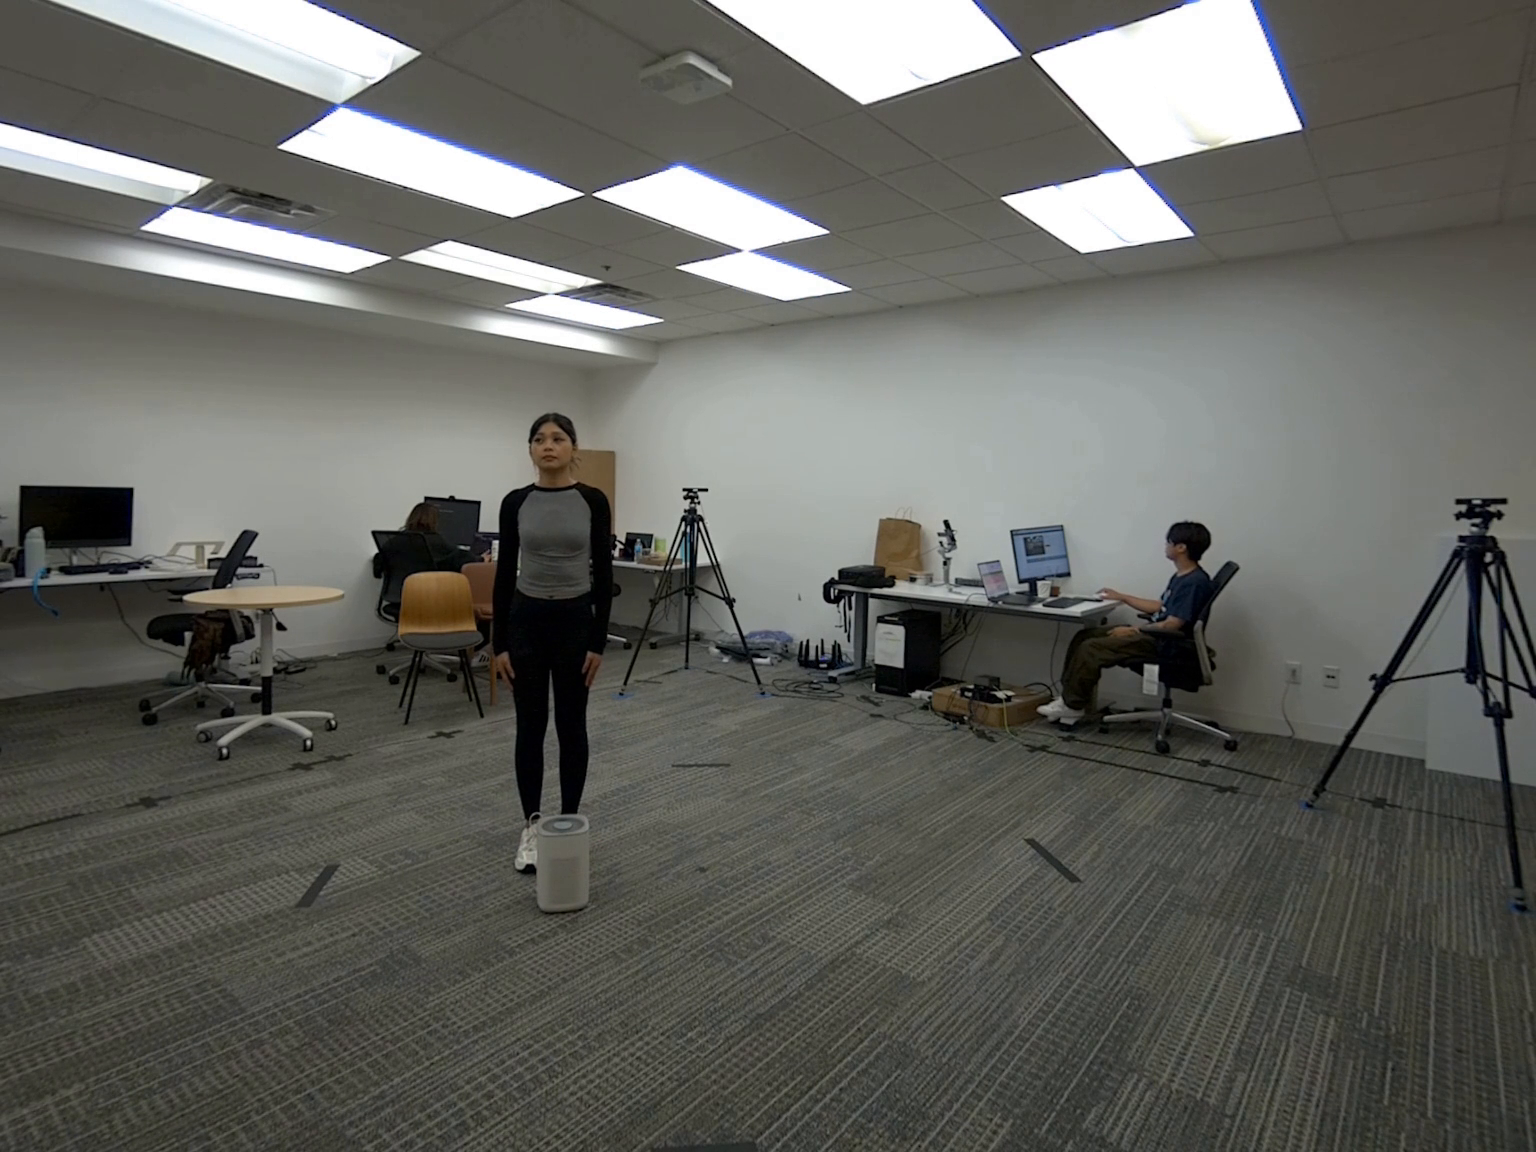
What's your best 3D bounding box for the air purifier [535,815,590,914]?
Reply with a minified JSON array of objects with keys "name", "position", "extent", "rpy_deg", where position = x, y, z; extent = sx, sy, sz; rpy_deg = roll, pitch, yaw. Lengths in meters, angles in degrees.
[{"name":"air purifier","position":[-0.696,0.953,2.840],"extent":[0.169,0.264,0.175],"rpy_deg":[-1,5,-17]}]
